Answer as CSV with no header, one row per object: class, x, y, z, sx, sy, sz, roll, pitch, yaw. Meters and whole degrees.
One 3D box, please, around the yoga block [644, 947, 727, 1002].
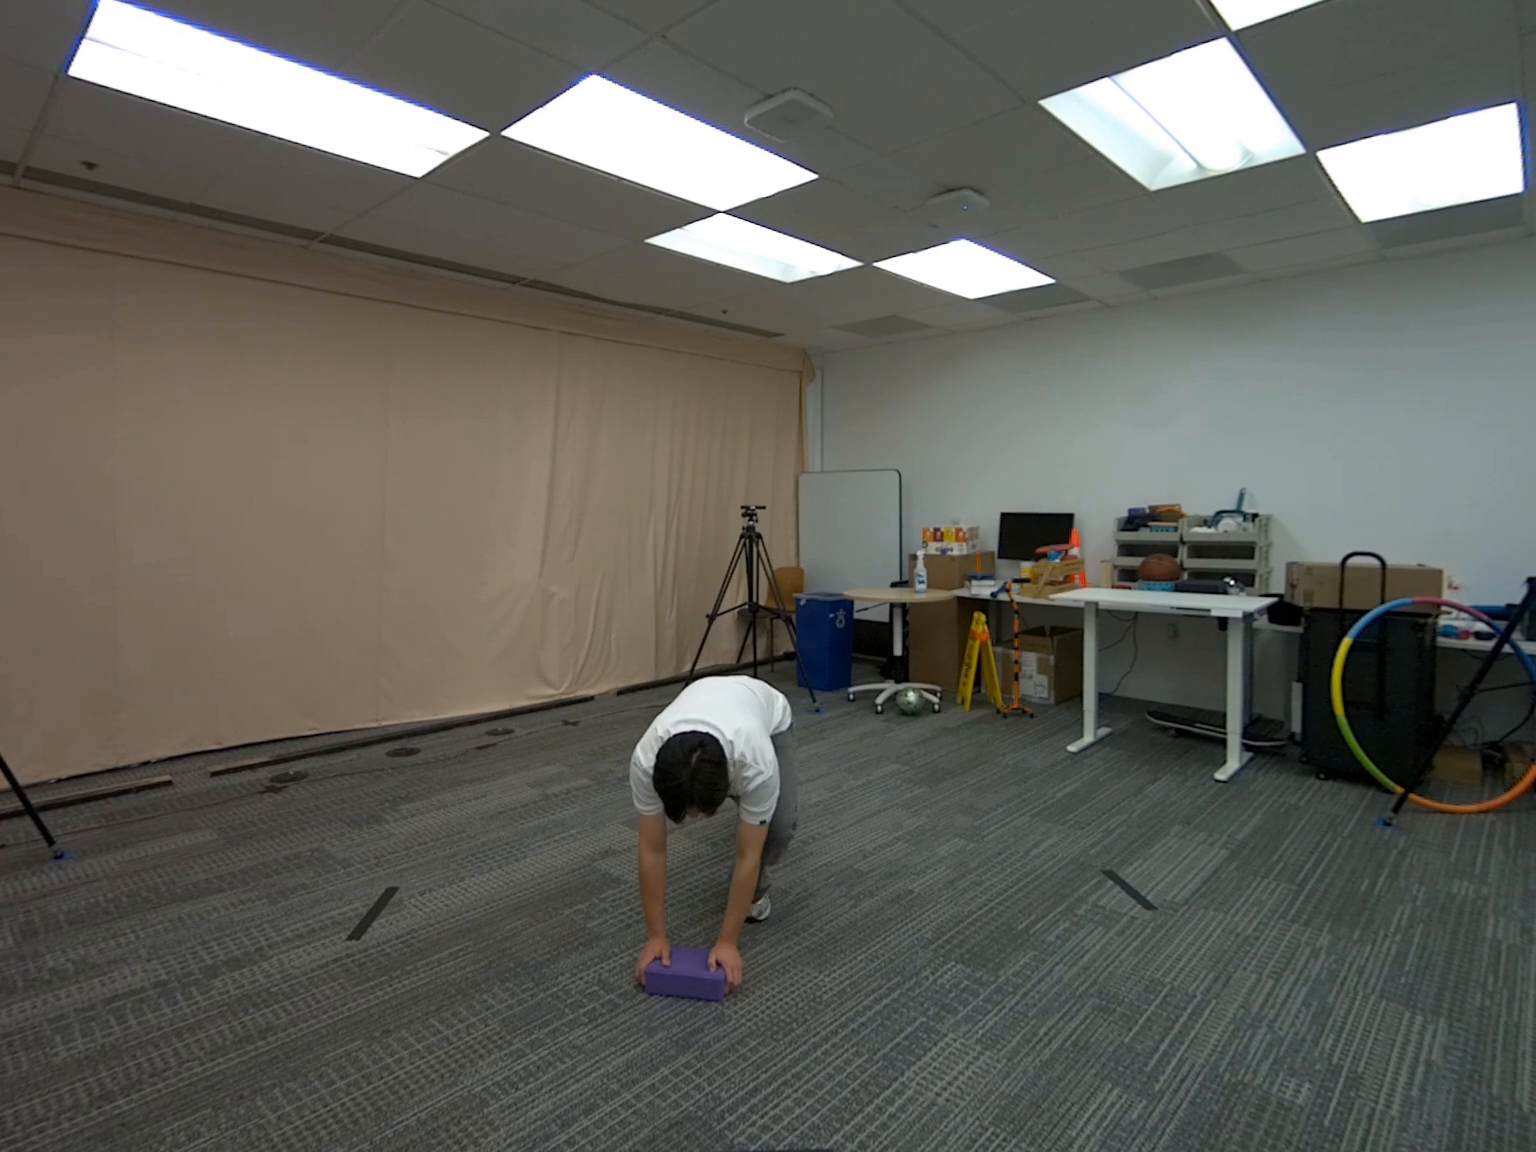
yoga block,-0.230,1.150,2.450,0.232,0.076,0.147,1,5,11
